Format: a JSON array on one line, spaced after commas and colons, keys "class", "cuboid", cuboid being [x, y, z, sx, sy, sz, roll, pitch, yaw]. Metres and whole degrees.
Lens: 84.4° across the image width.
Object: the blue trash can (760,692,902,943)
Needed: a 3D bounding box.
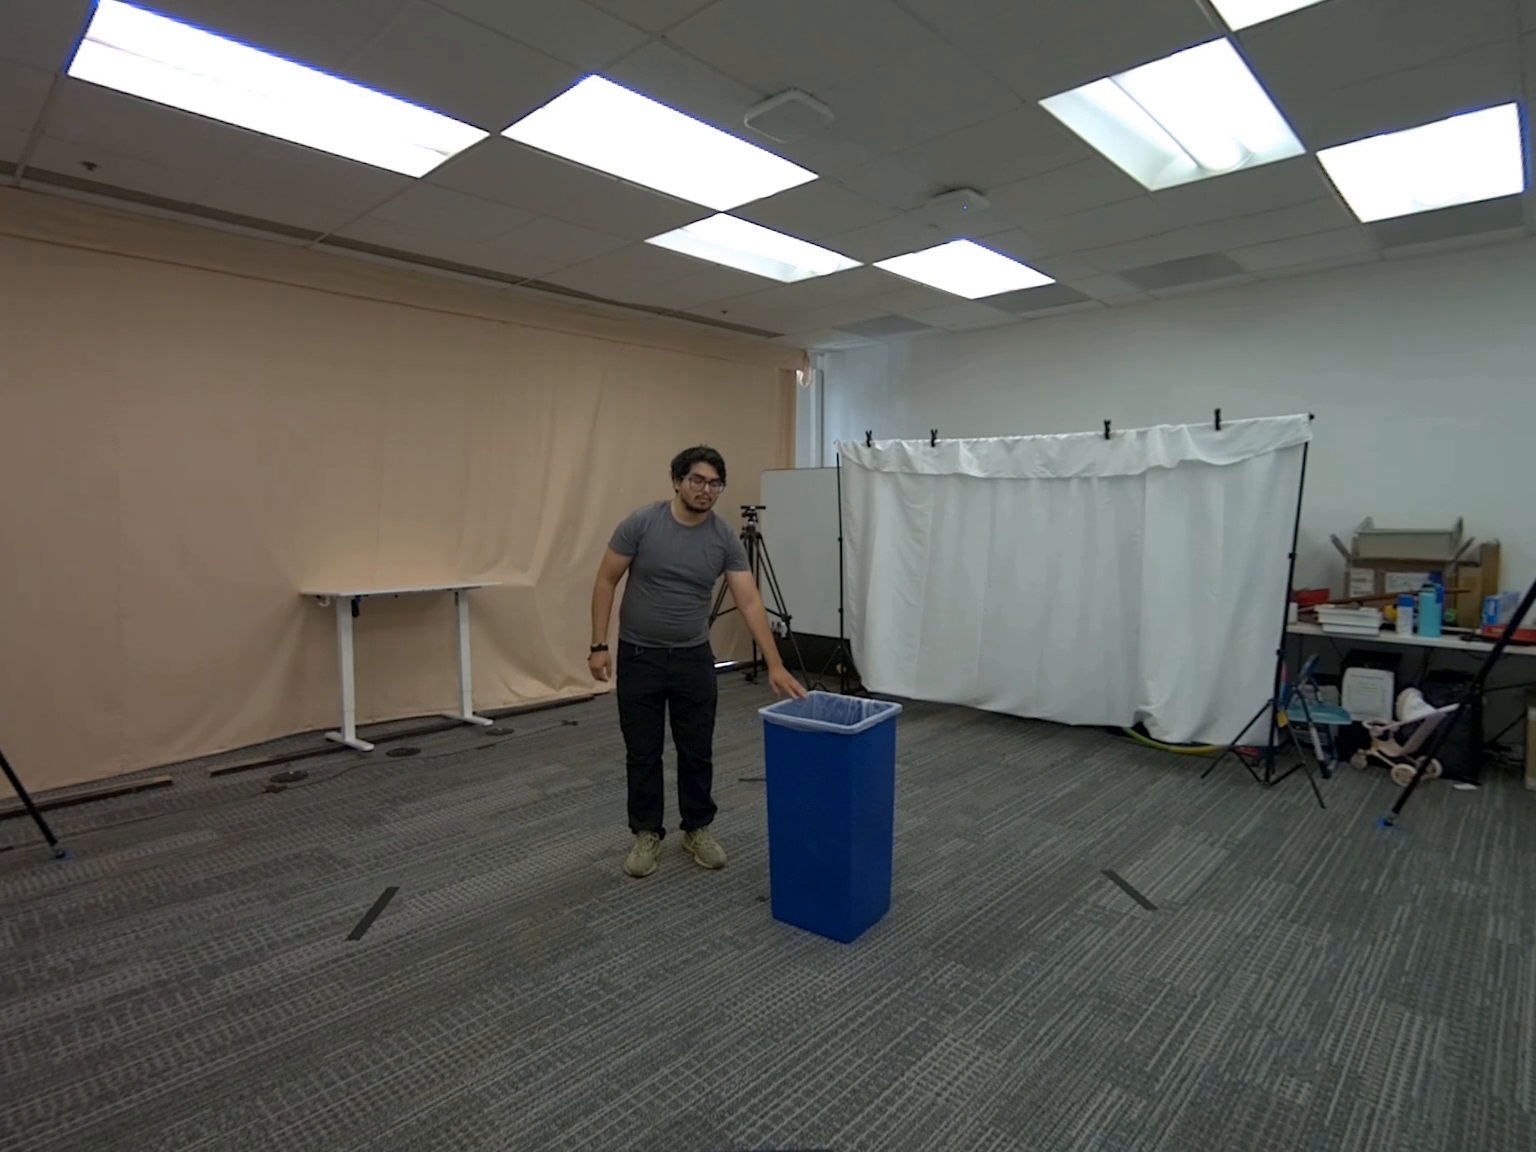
[{"class": "blue trash can", "cuboid": [0.216, 0.796, 2.845, 0.390, 0.712, 0.363, 2, 4, 37]}]
